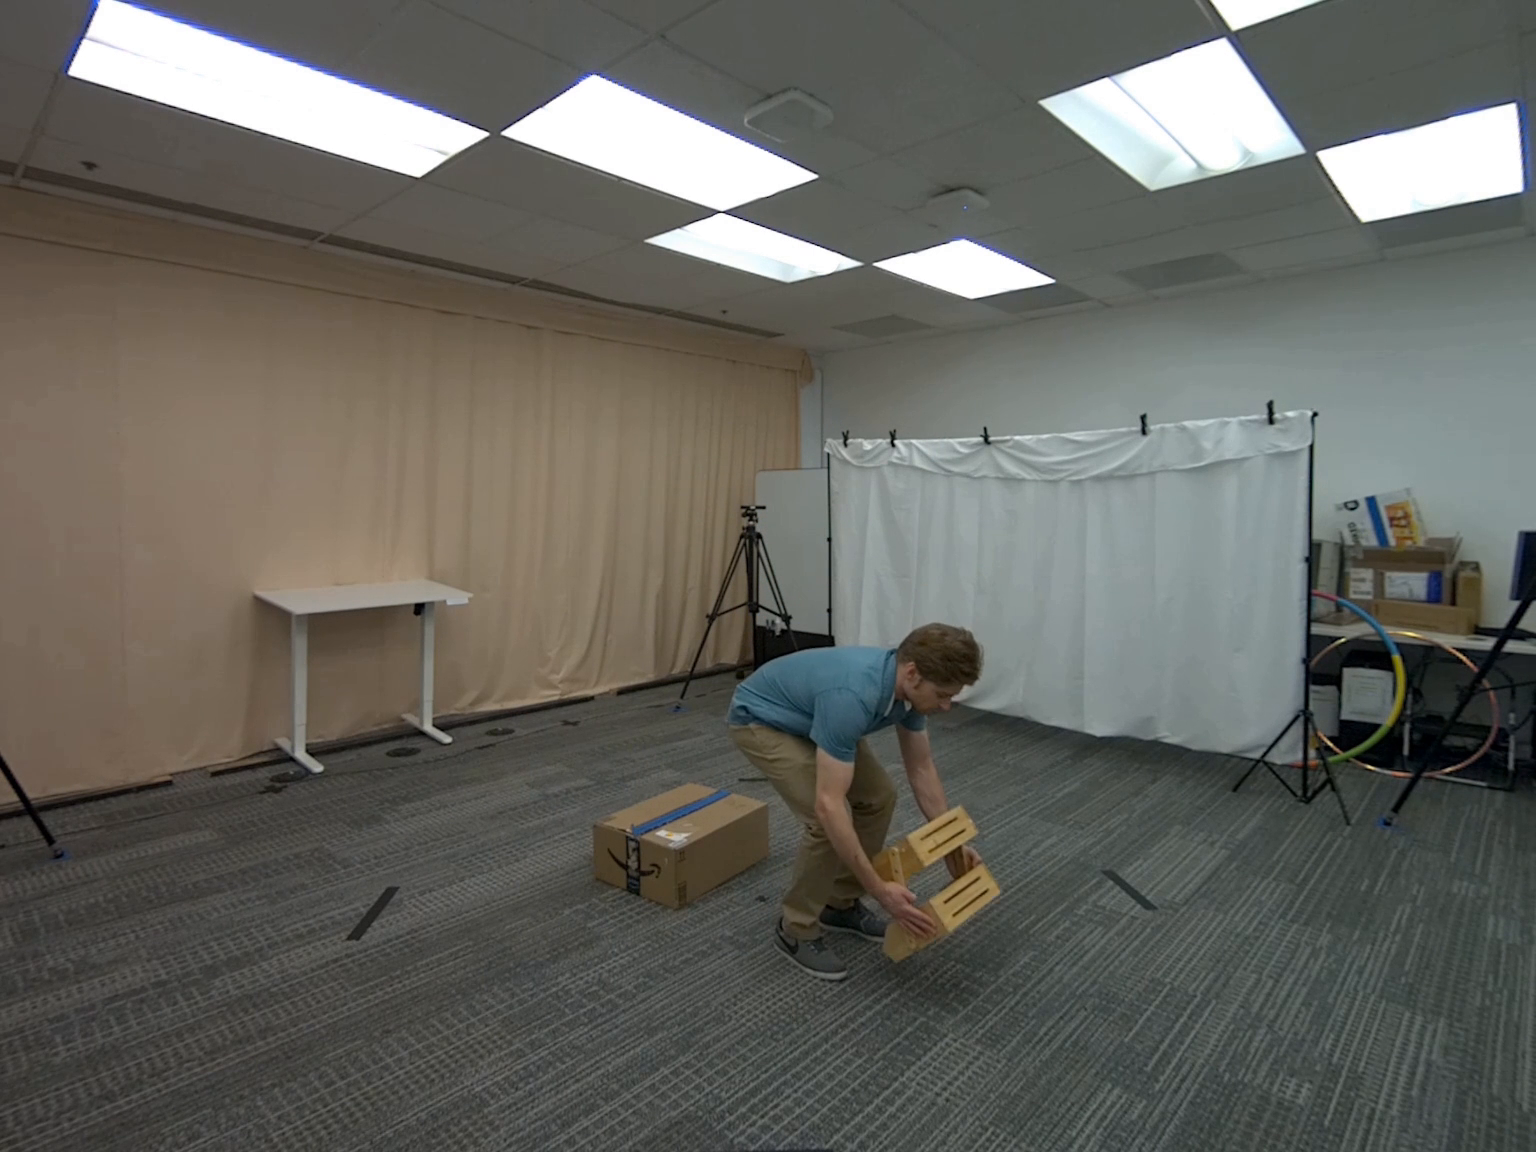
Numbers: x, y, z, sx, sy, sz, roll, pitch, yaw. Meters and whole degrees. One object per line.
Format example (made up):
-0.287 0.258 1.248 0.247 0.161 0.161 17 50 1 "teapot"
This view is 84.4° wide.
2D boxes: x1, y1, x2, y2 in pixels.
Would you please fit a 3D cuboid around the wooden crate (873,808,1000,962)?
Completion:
0.466 0.889 2.464 0.315 0.280 0.304 -6 -34 -47 "wooden crate"
